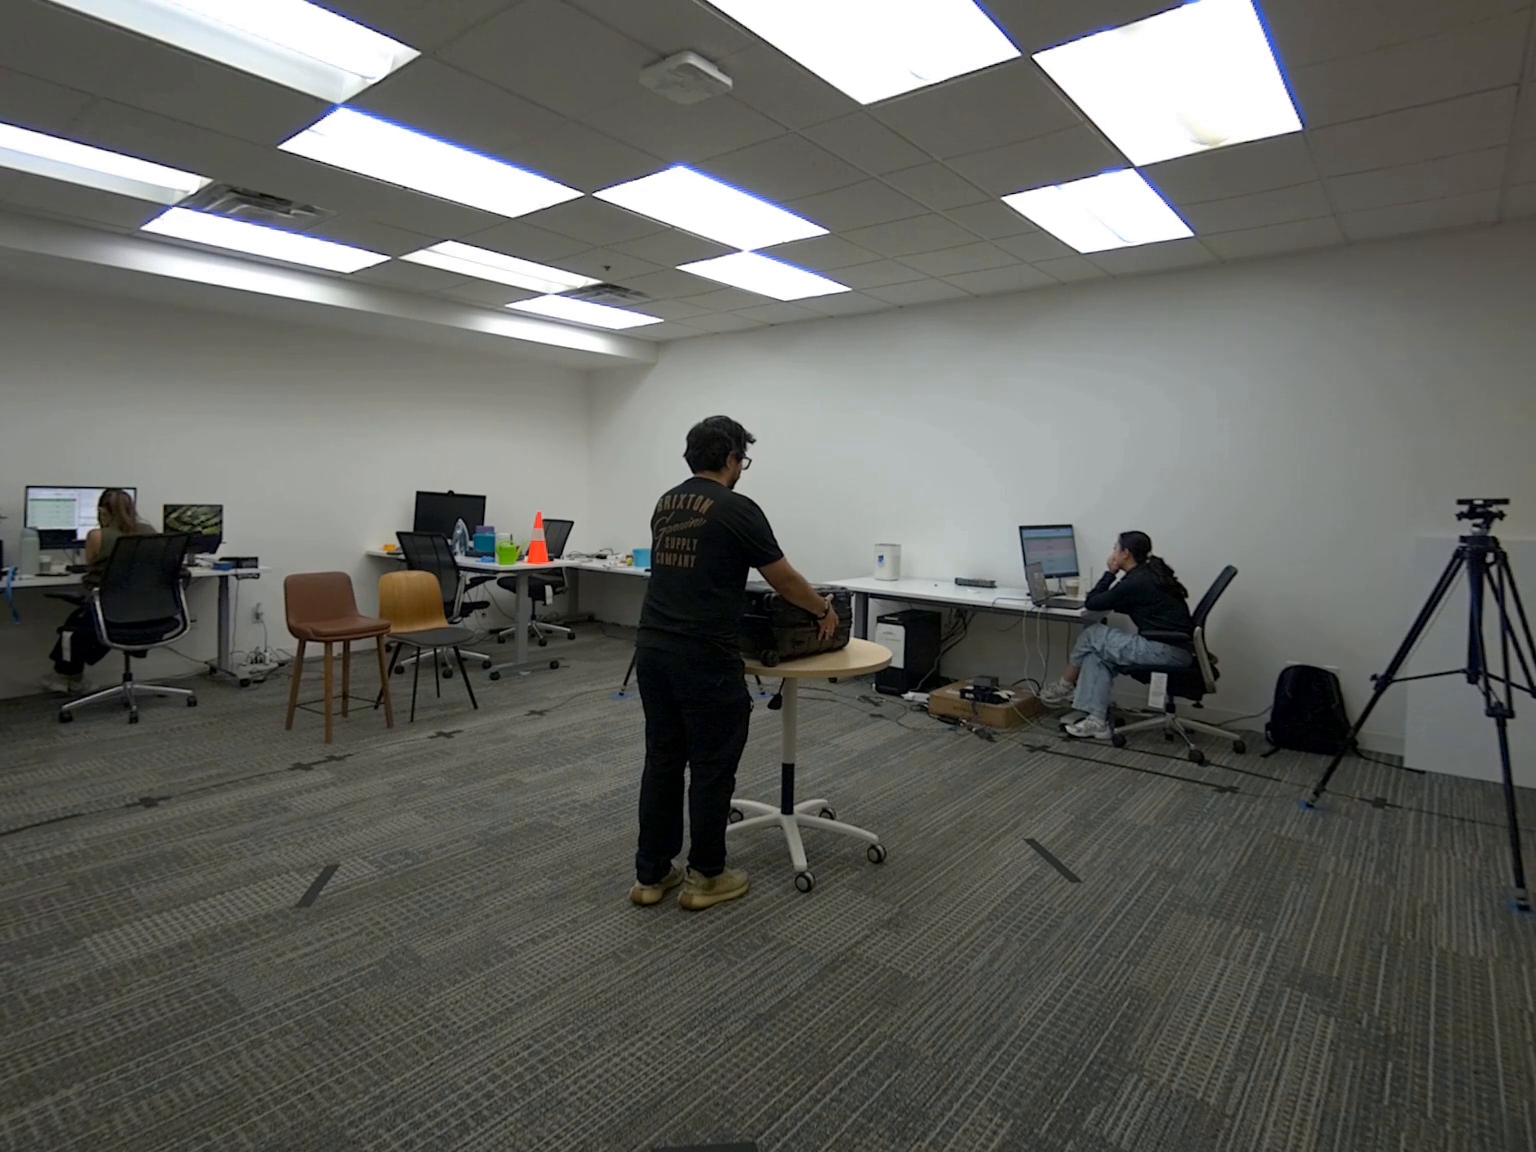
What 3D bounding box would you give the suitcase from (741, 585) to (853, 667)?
[{"bbox_3d":[0.048,0.159,3.230,0.387,0.248,0.532,2,3,39],"label":"suitcase"}]
